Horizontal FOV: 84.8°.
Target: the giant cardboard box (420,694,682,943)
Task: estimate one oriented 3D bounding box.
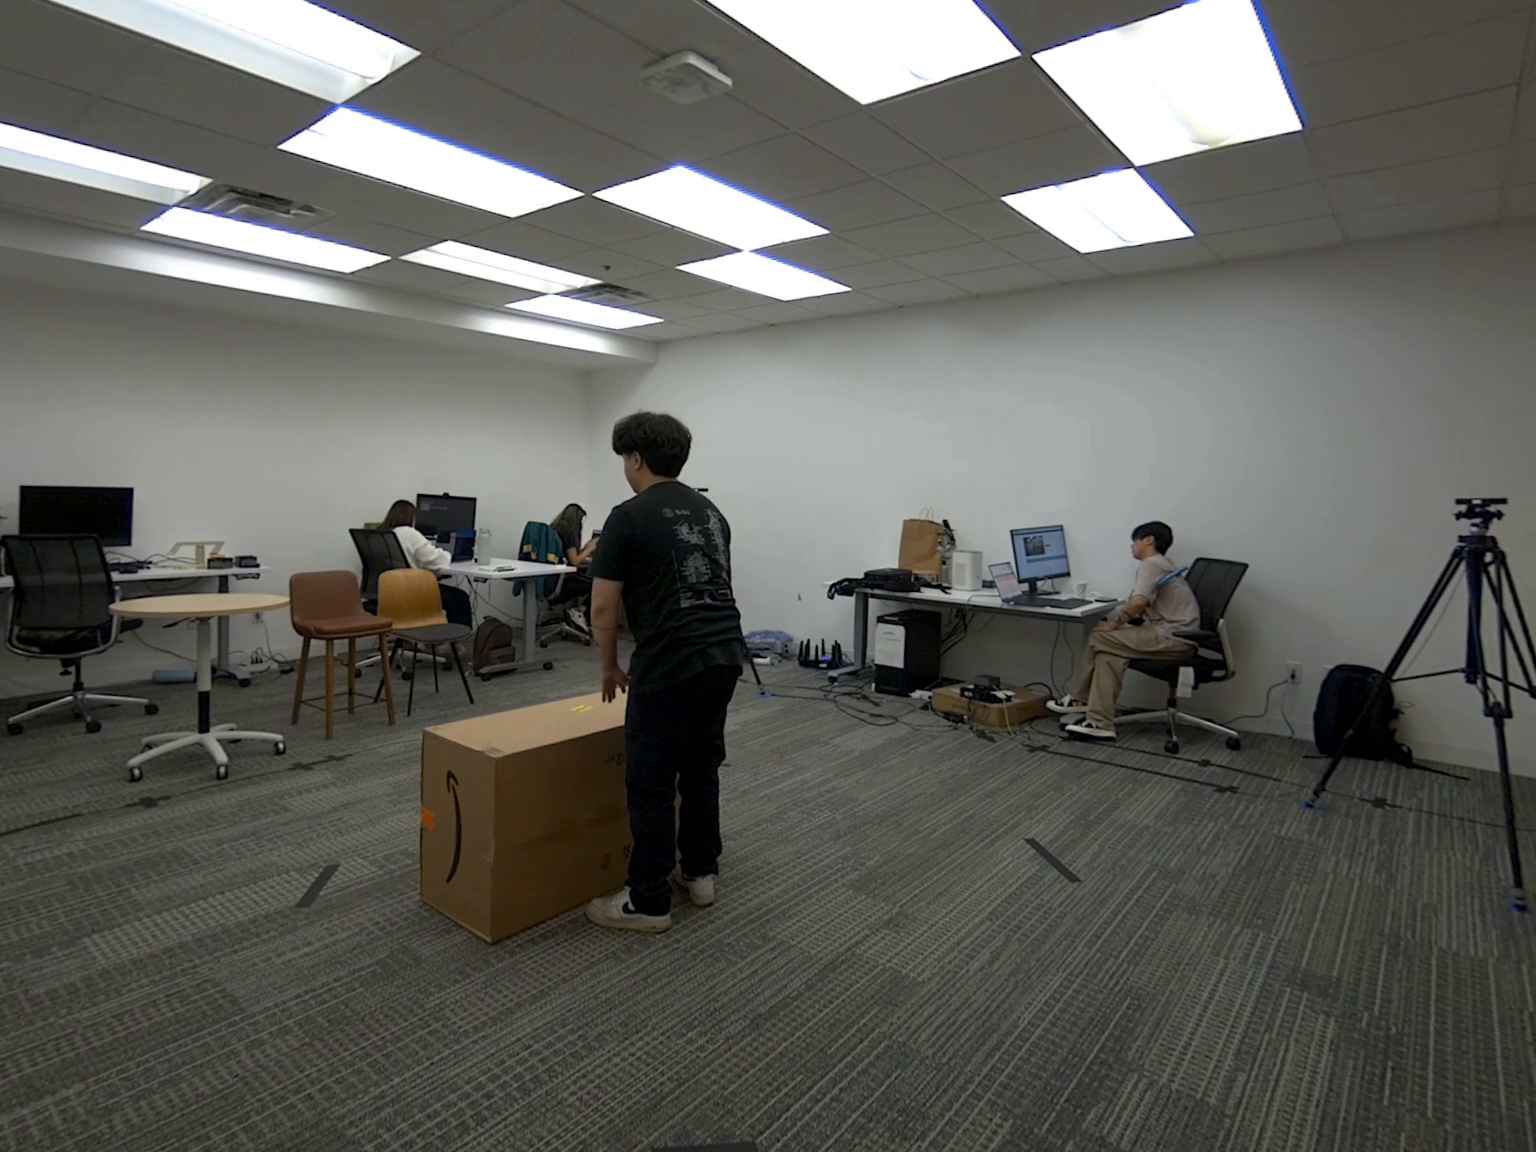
[{"bbox_3d":[-0.690,0.781,3.073,0.461,0.583,0.996,3,4,39],"label":"giant cardboard box"}]
